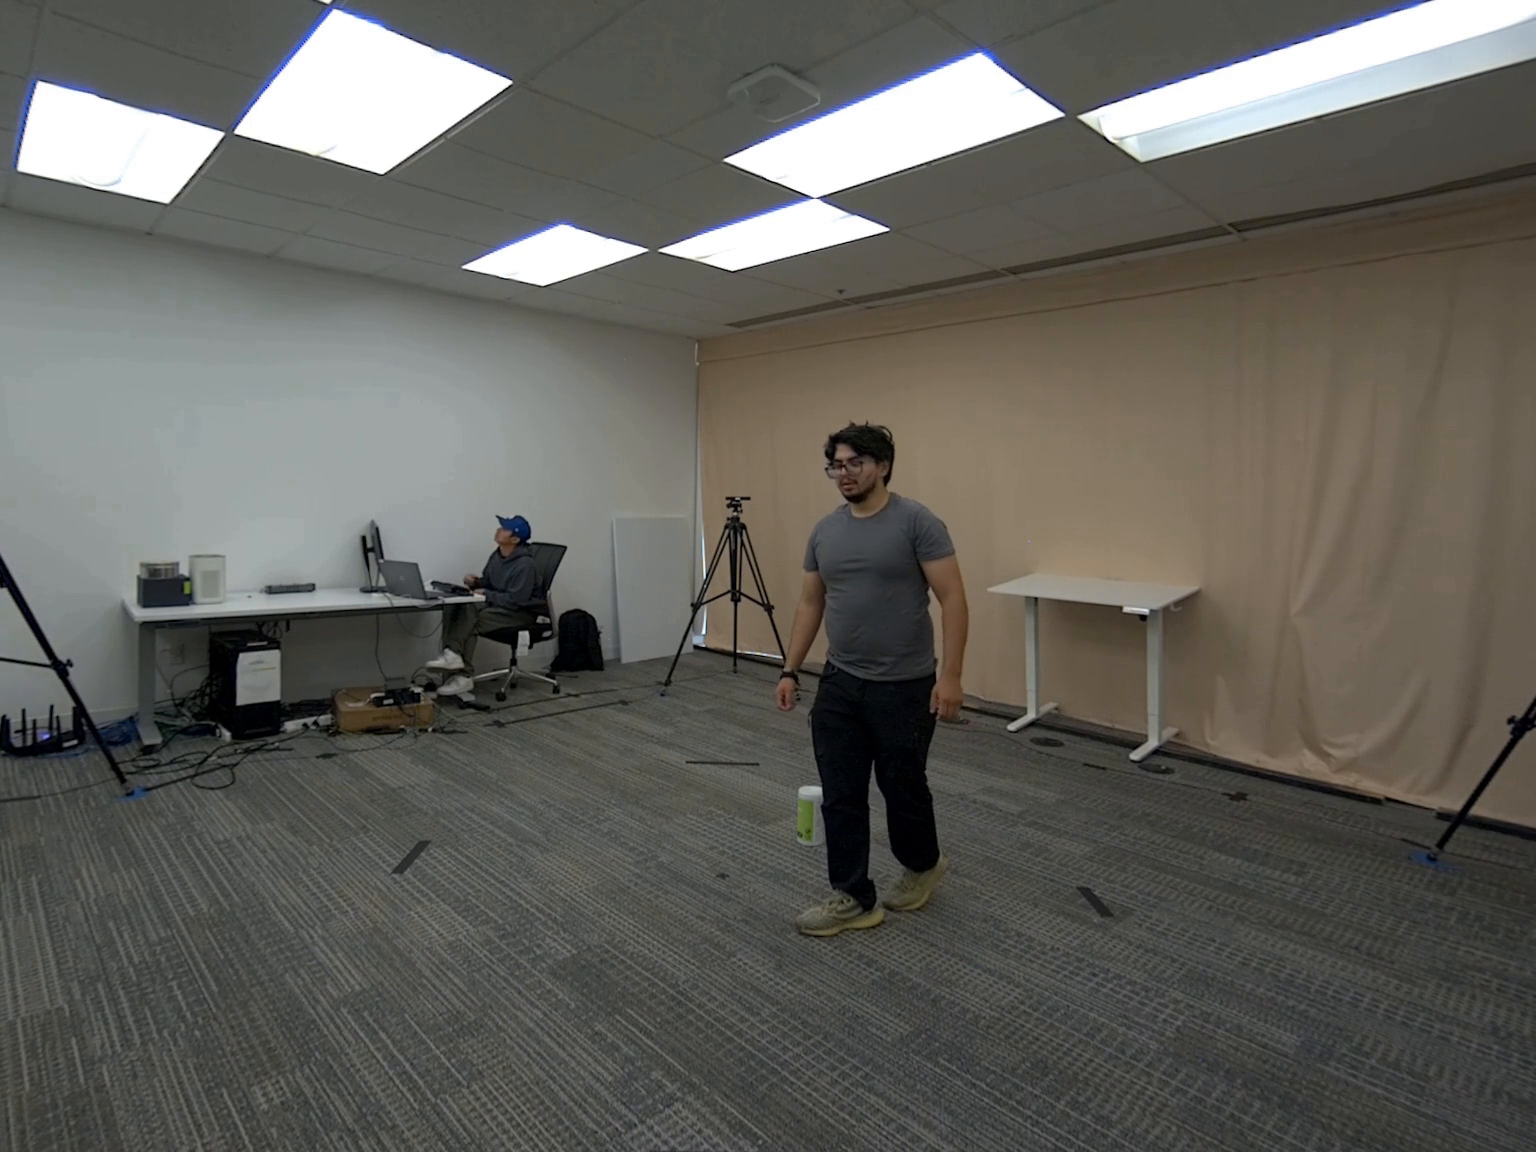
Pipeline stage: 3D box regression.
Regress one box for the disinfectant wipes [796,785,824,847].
[{"bbox_3d":[0.161,0.976,3.434,0.118,0.216,0.118,2,8,-2],"label":"disinfectant wipes"}]
